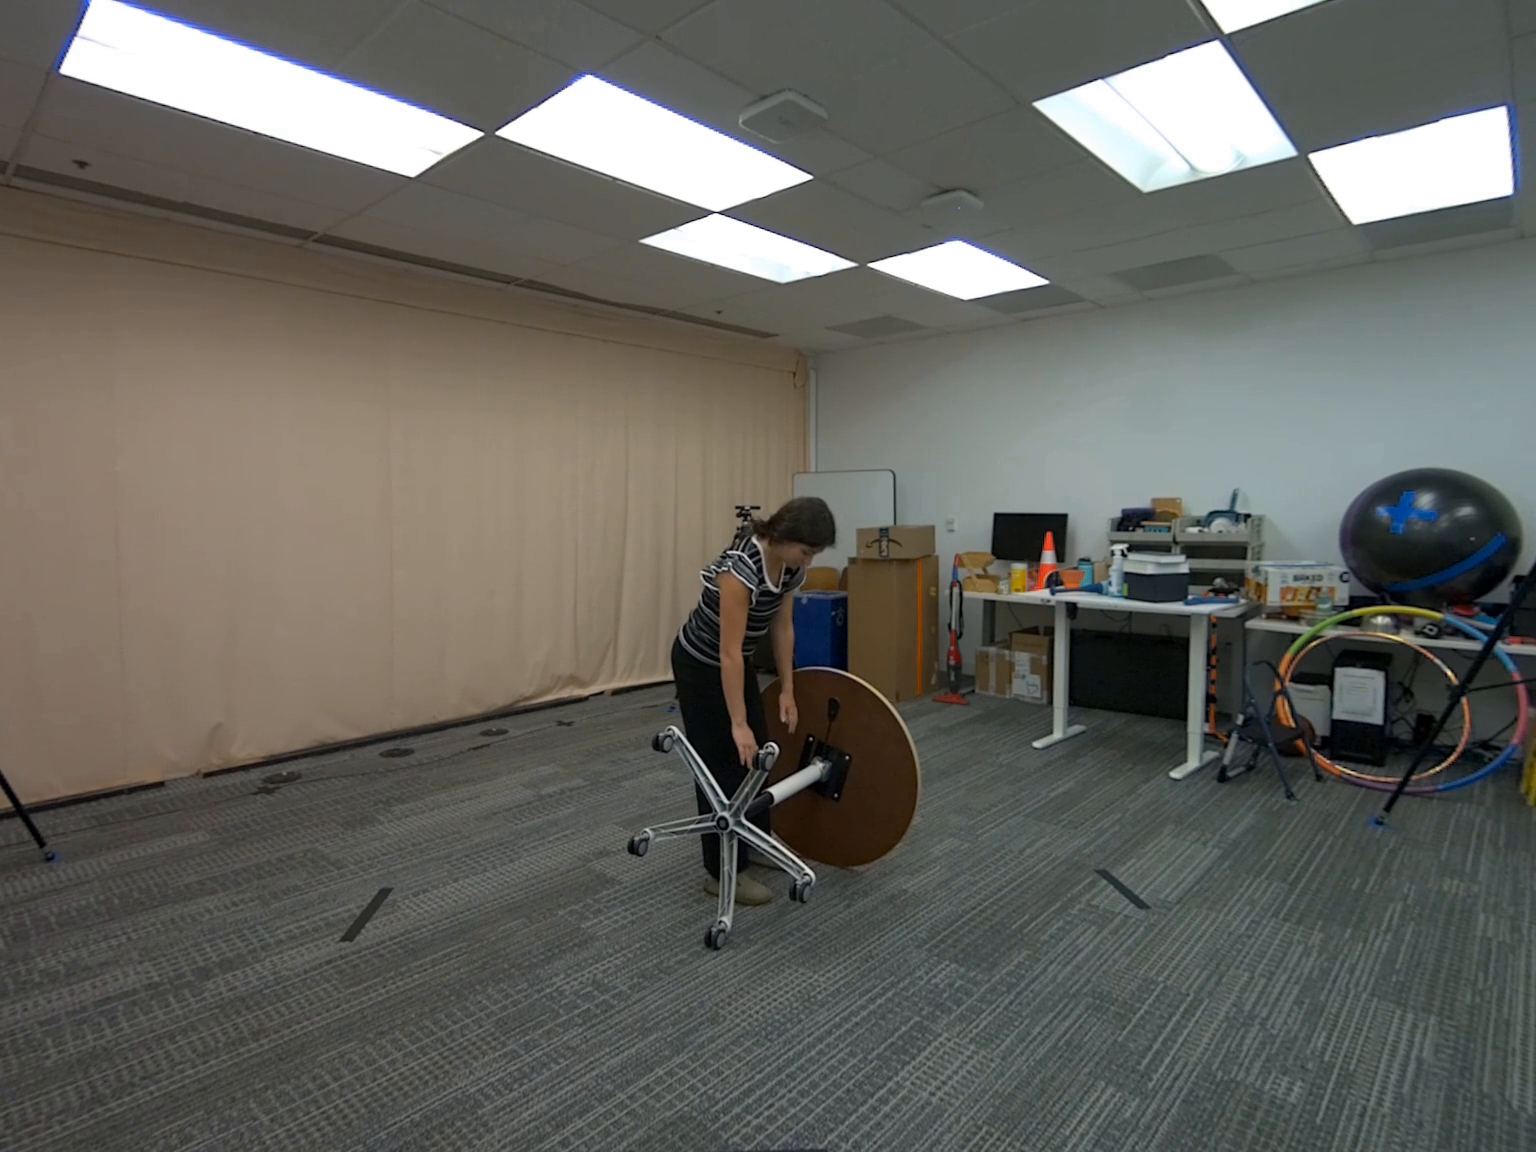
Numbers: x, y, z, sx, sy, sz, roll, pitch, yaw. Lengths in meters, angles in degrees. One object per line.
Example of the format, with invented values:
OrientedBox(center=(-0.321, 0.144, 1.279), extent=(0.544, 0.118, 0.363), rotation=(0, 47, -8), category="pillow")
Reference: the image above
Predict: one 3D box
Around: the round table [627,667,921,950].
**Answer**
OrientedBox(center=(0.023, 0.777, 2.945), extent=(0.788, 0.761, 0.772), rotation=(3, 6, 34), category="round table")
